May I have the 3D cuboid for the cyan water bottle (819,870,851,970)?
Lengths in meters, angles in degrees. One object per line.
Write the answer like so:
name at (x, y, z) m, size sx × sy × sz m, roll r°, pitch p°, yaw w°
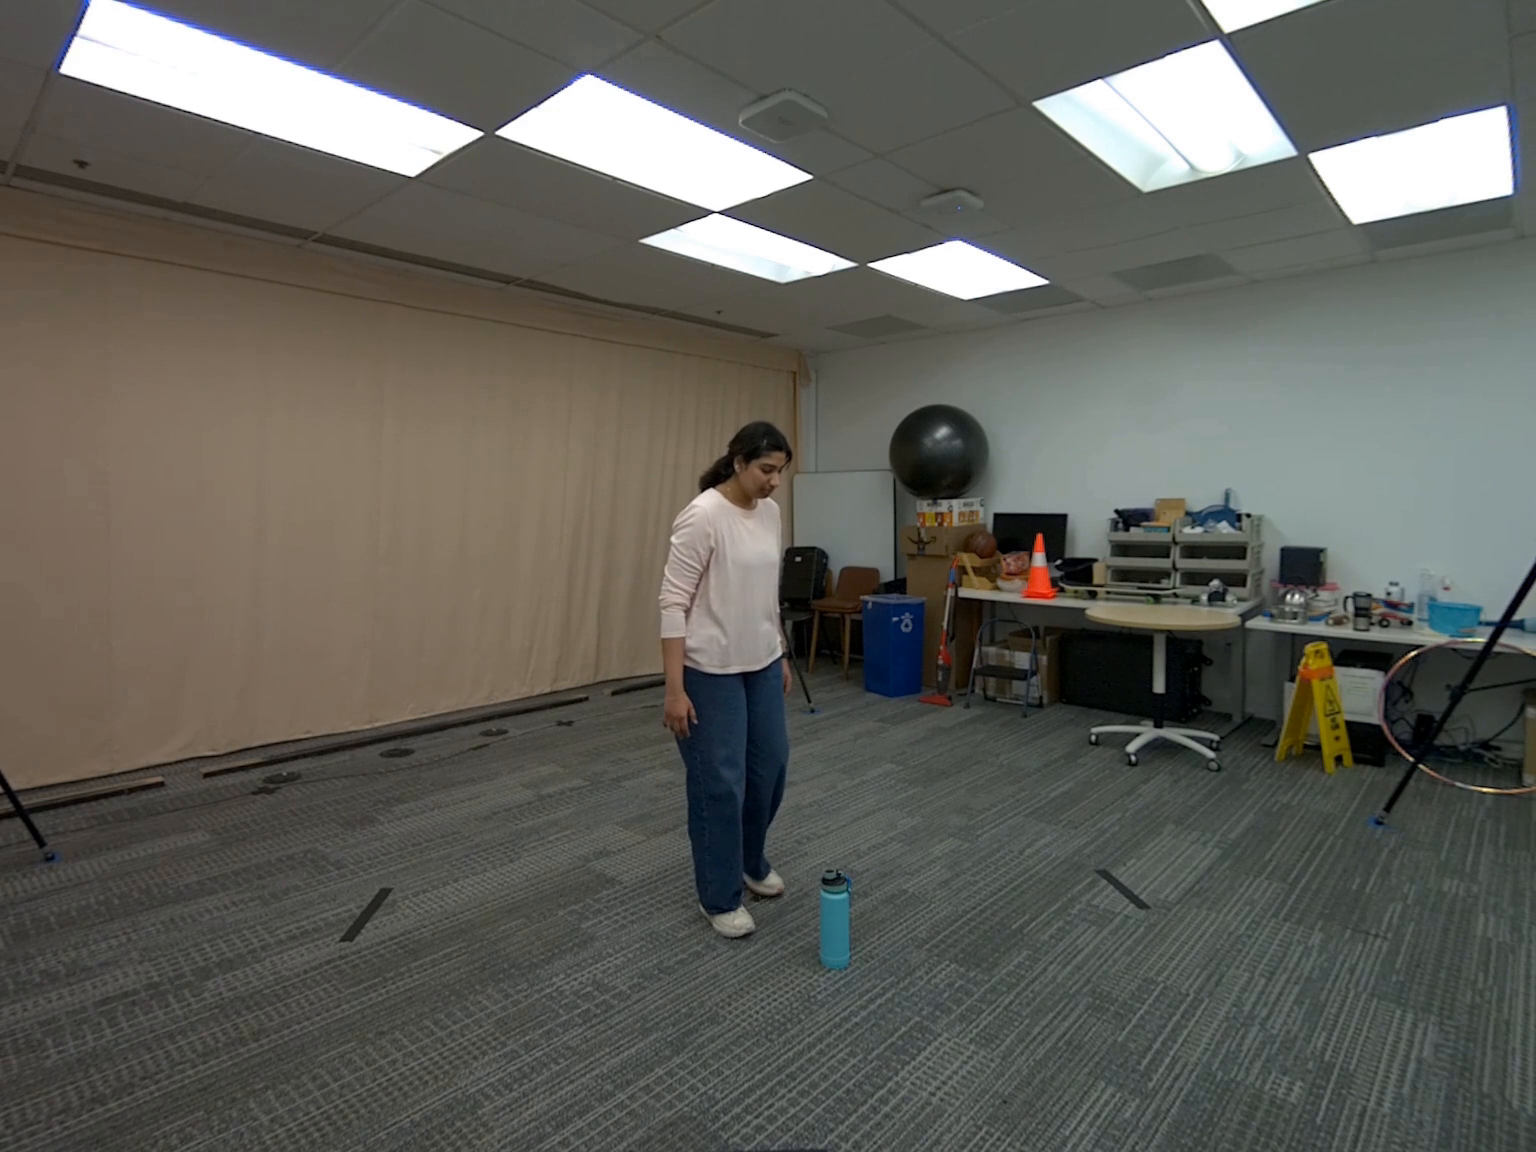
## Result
cyan water bottle at (0.212, 1.041, 2.561) m, size 0.092 × 0.283 × 0.092 m, roll 2°, pitch 2°, yaw -2°
